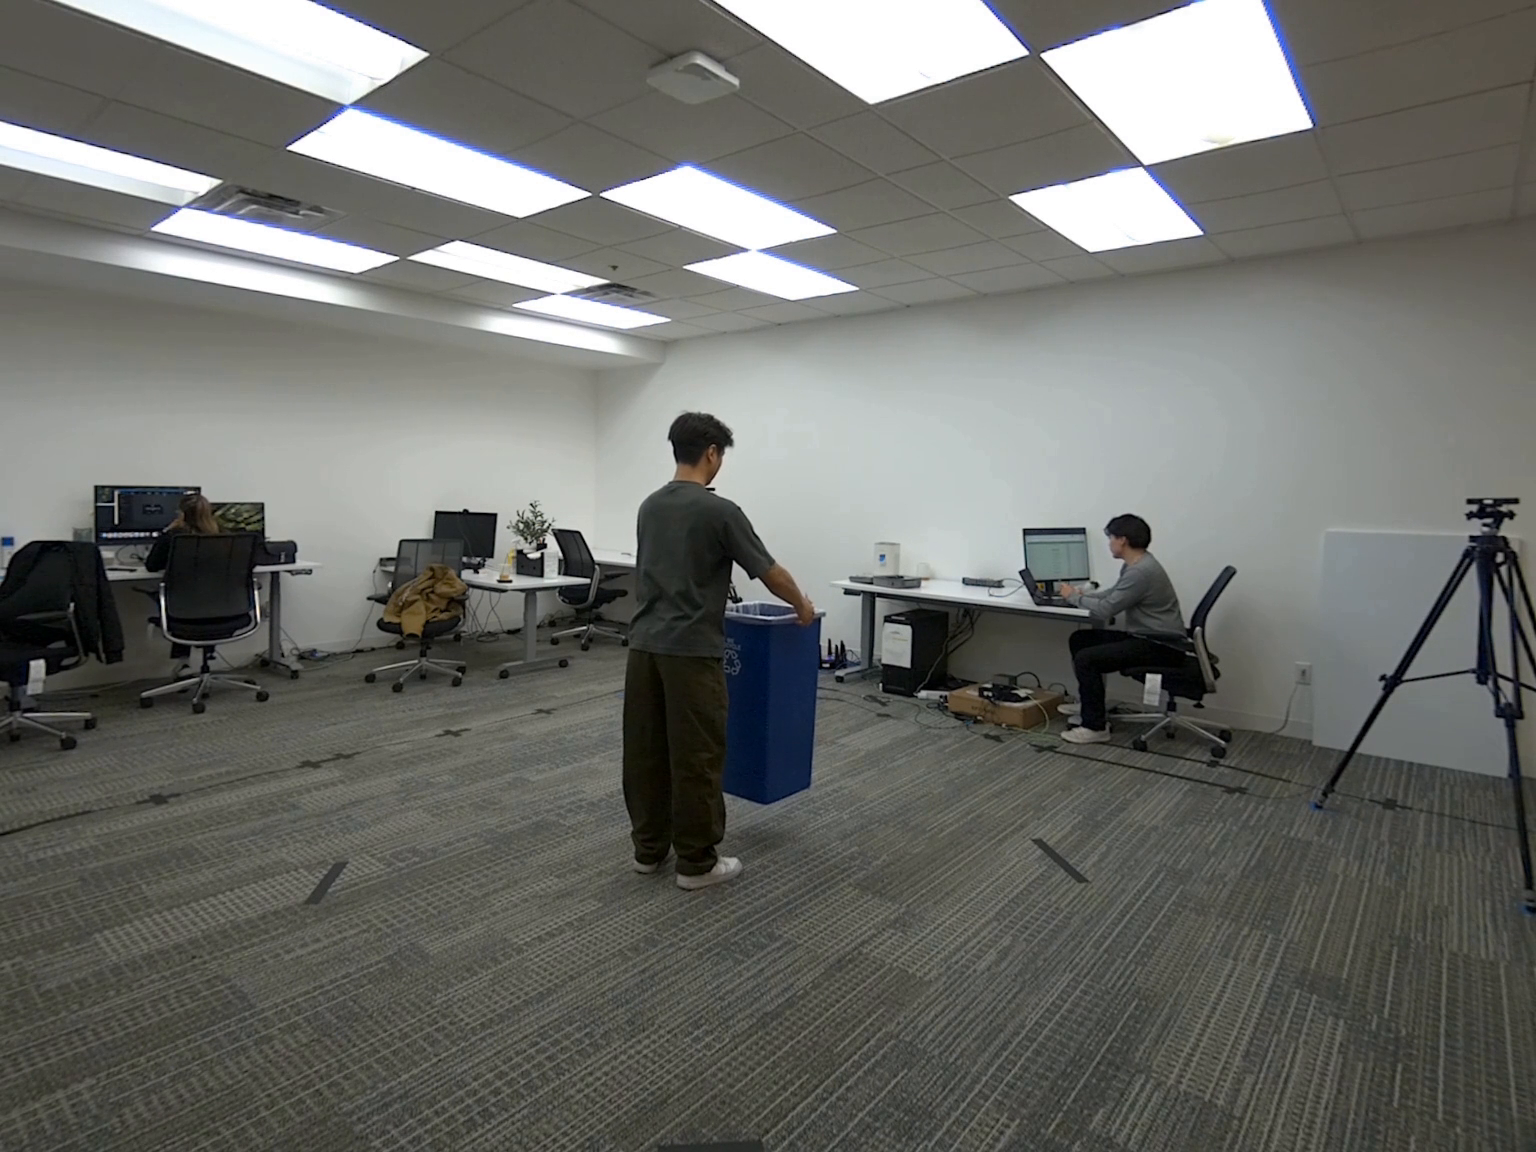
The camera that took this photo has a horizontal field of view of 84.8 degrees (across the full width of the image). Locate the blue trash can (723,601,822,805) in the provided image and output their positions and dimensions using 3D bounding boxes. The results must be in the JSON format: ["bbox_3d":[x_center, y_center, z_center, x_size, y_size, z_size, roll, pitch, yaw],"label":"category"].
[{"bbox_3d":[-0.031,0.486,3.389,0.391,0.711,0.363,4,4,39],"label":"blue trash can"}]
